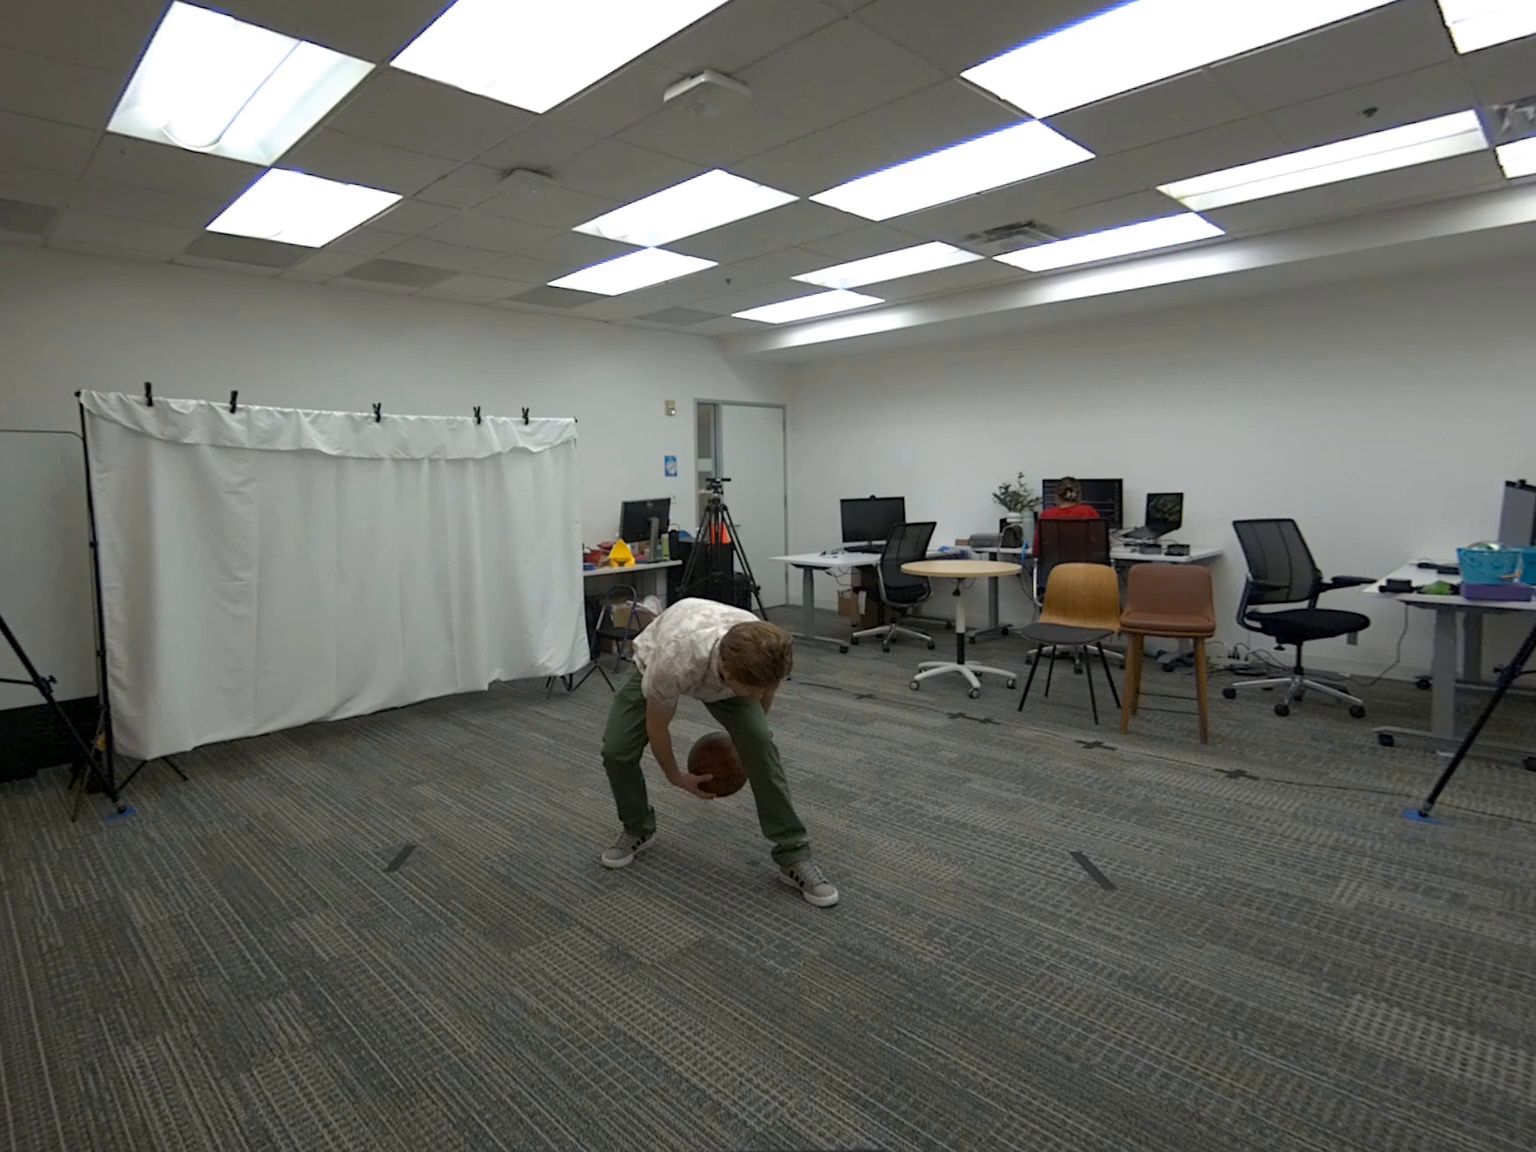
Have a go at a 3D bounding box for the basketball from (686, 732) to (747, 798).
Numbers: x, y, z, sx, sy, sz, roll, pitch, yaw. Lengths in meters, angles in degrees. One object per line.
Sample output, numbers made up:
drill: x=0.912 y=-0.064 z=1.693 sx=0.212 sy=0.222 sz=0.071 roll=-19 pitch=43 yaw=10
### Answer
basketball: x=-0.184 y=0.702 z=3.196 sx=0.236 sy=0.235 sz=0.237 roll=-1 pitch=5 yaw=-2
